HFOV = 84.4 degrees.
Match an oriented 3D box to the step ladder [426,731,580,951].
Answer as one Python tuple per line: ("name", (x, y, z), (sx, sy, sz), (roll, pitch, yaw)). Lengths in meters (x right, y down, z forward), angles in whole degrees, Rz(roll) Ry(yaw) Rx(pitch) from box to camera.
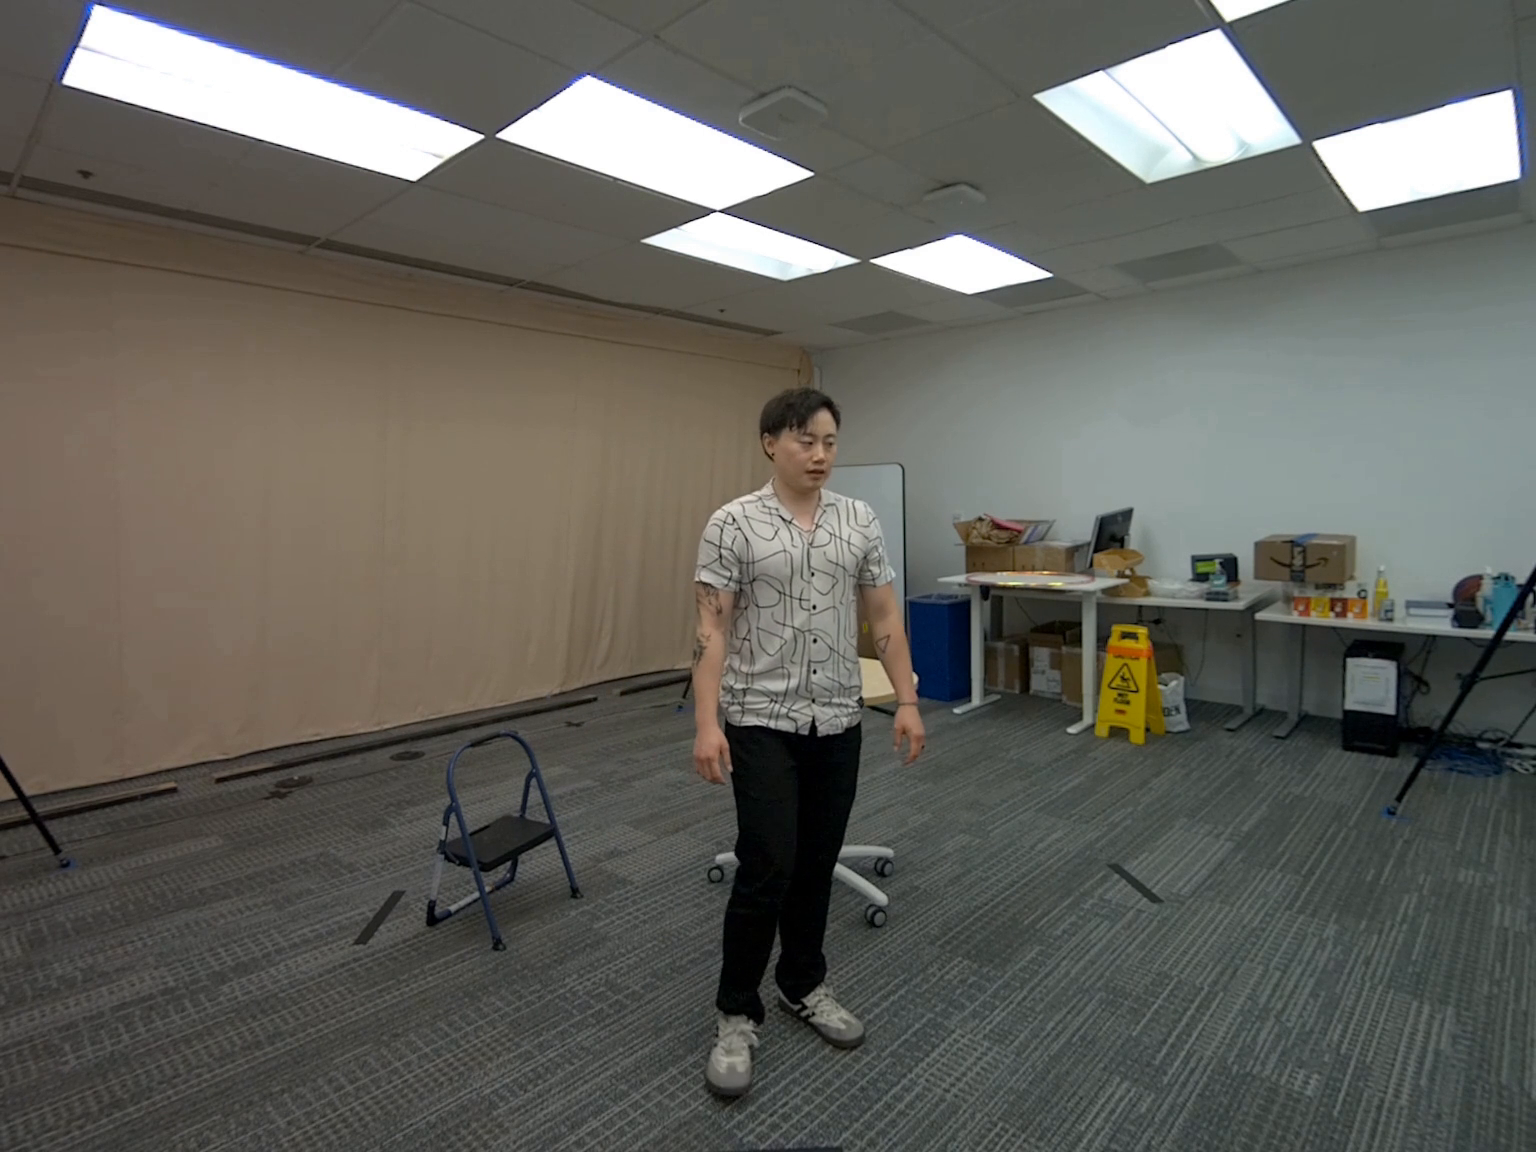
("step ladder", (-0.918, 0.865, 2.911), (0.359, 0.605, 0.420), (0, 4, 27))
